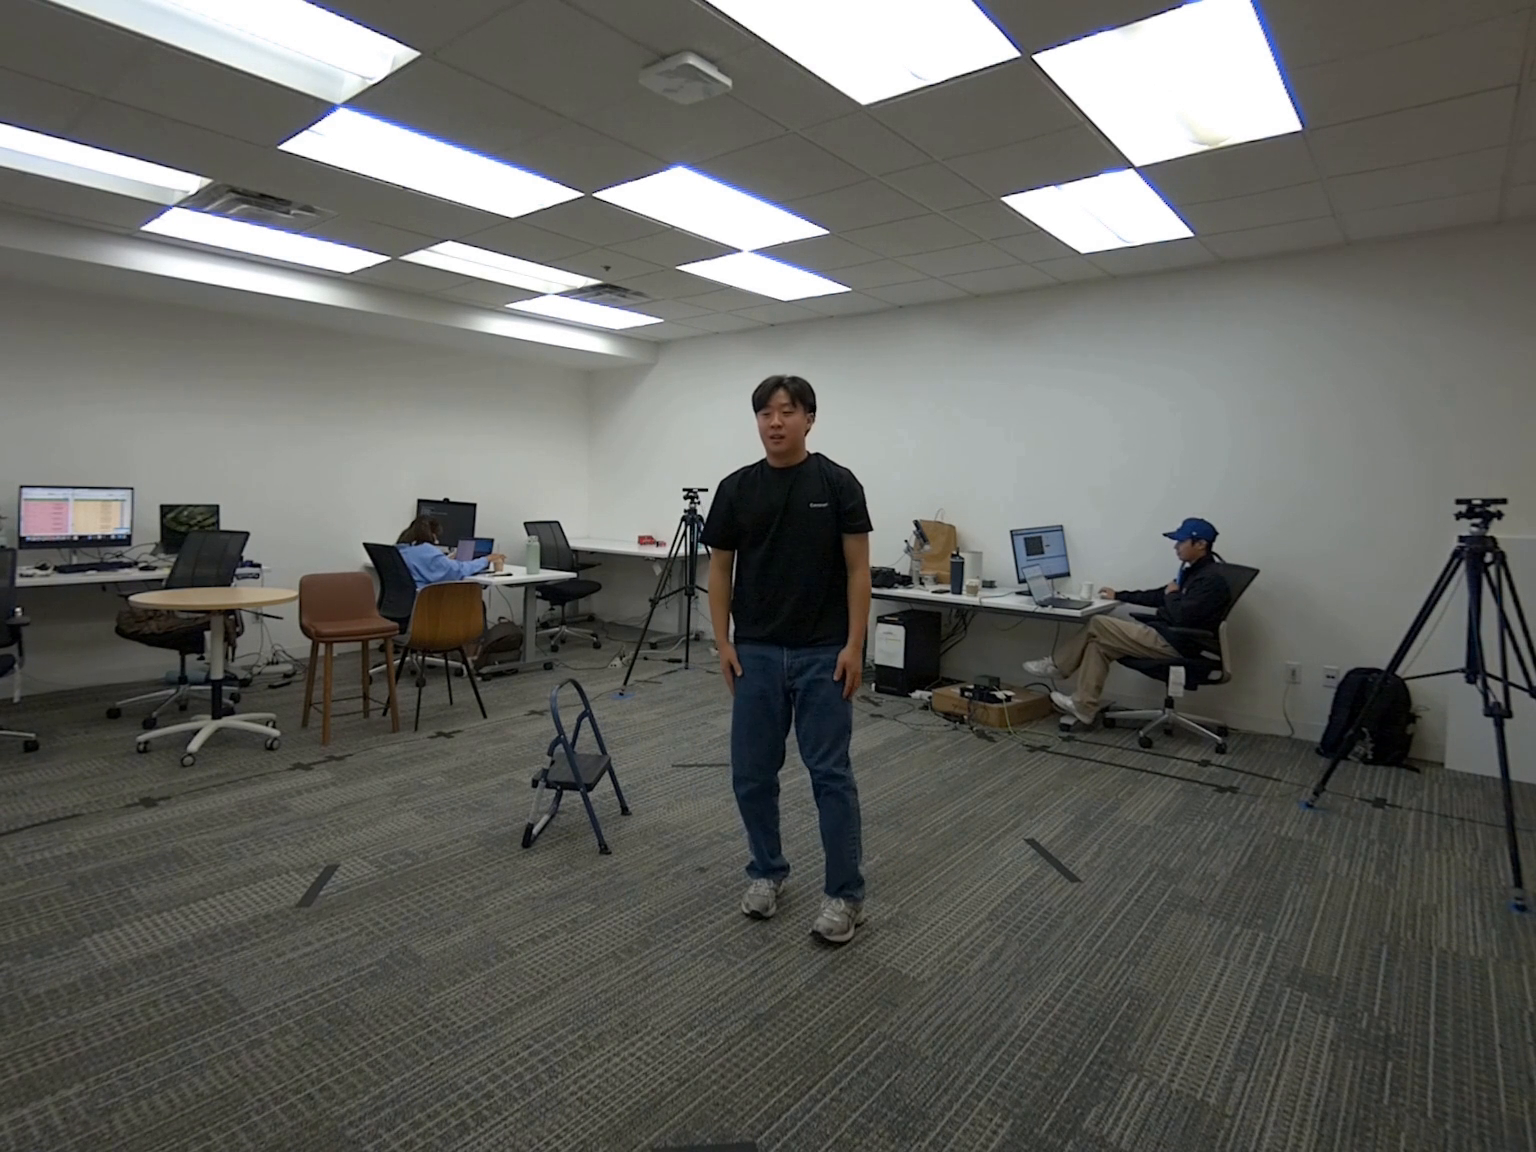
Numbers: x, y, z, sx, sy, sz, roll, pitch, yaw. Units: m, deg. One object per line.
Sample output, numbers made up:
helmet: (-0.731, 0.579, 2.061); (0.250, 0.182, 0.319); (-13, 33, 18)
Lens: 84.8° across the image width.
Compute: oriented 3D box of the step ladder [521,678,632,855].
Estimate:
step ladder: (-0.772, 0.727, 3.434); (0.351, 0.605, 0.430); (1, 3, 3)
